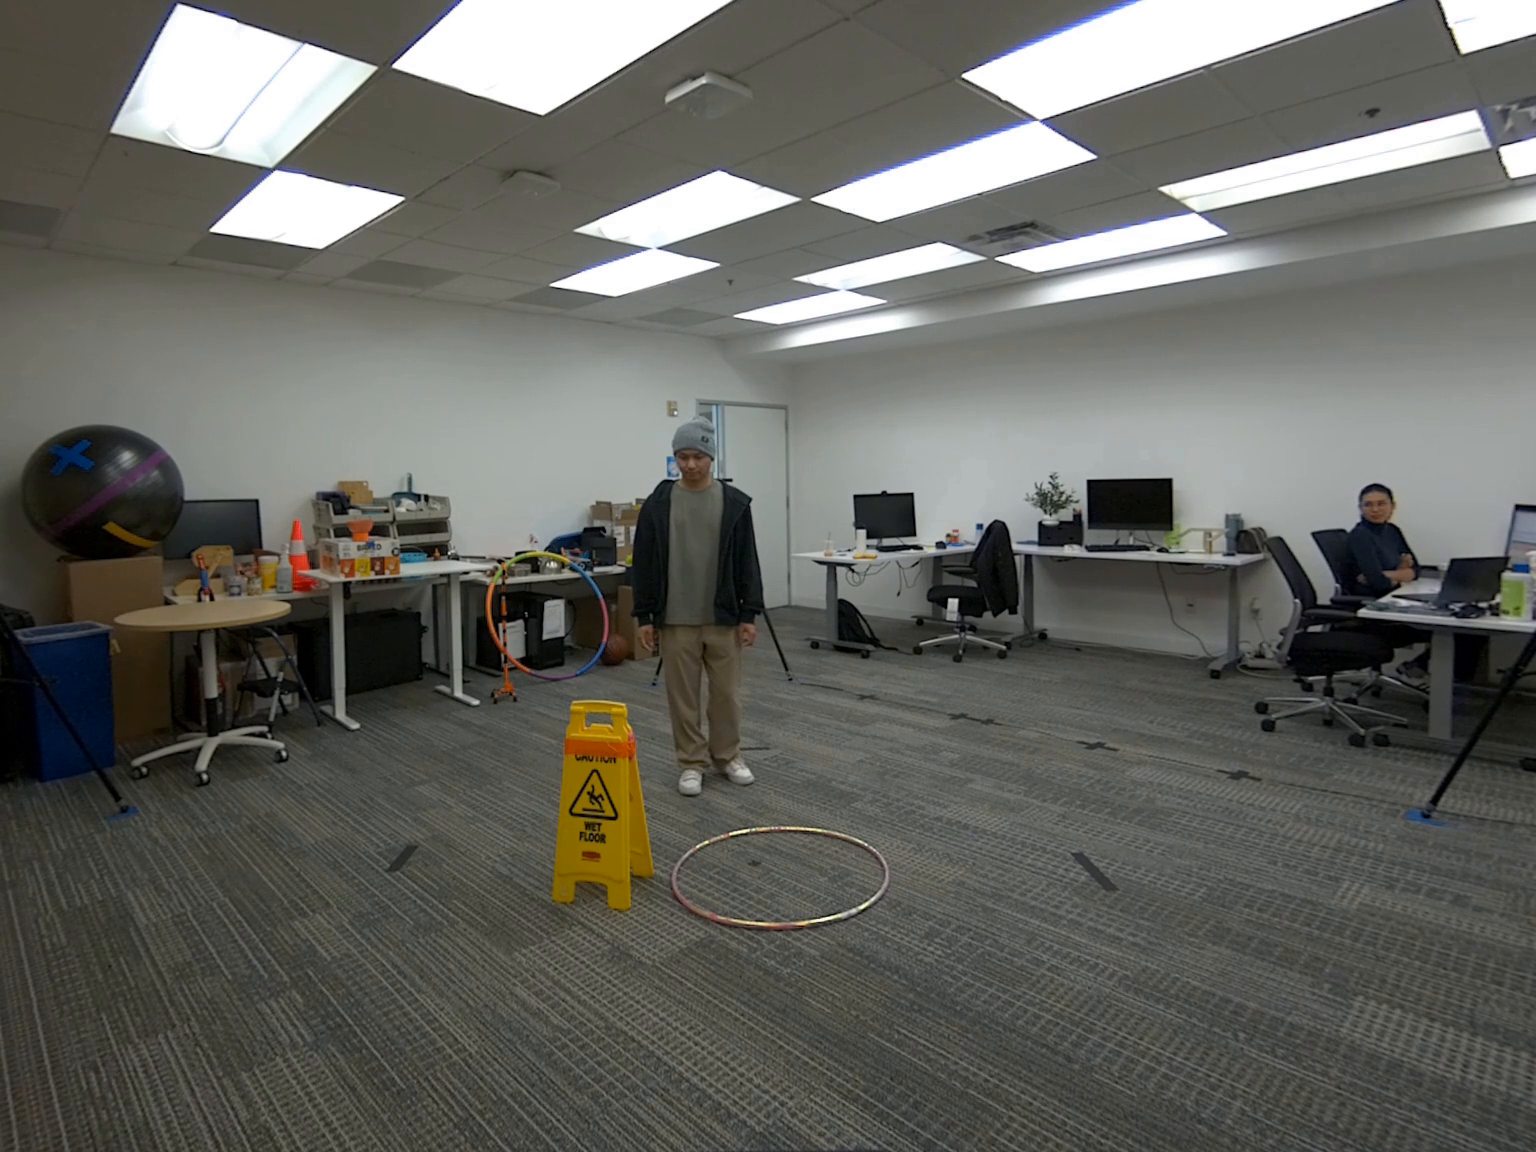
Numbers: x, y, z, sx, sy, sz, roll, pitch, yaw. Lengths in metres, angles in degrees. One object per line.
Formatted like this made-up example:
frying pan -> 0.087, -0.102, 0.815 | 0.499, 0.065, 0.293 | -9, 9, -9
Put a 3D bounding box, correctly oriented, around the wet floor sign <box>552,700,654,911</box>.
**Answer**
wet floor sign -> -0.564, 0.757, 2.914 | 0.286, 0.643, 0.287 | 1, 5, 13
